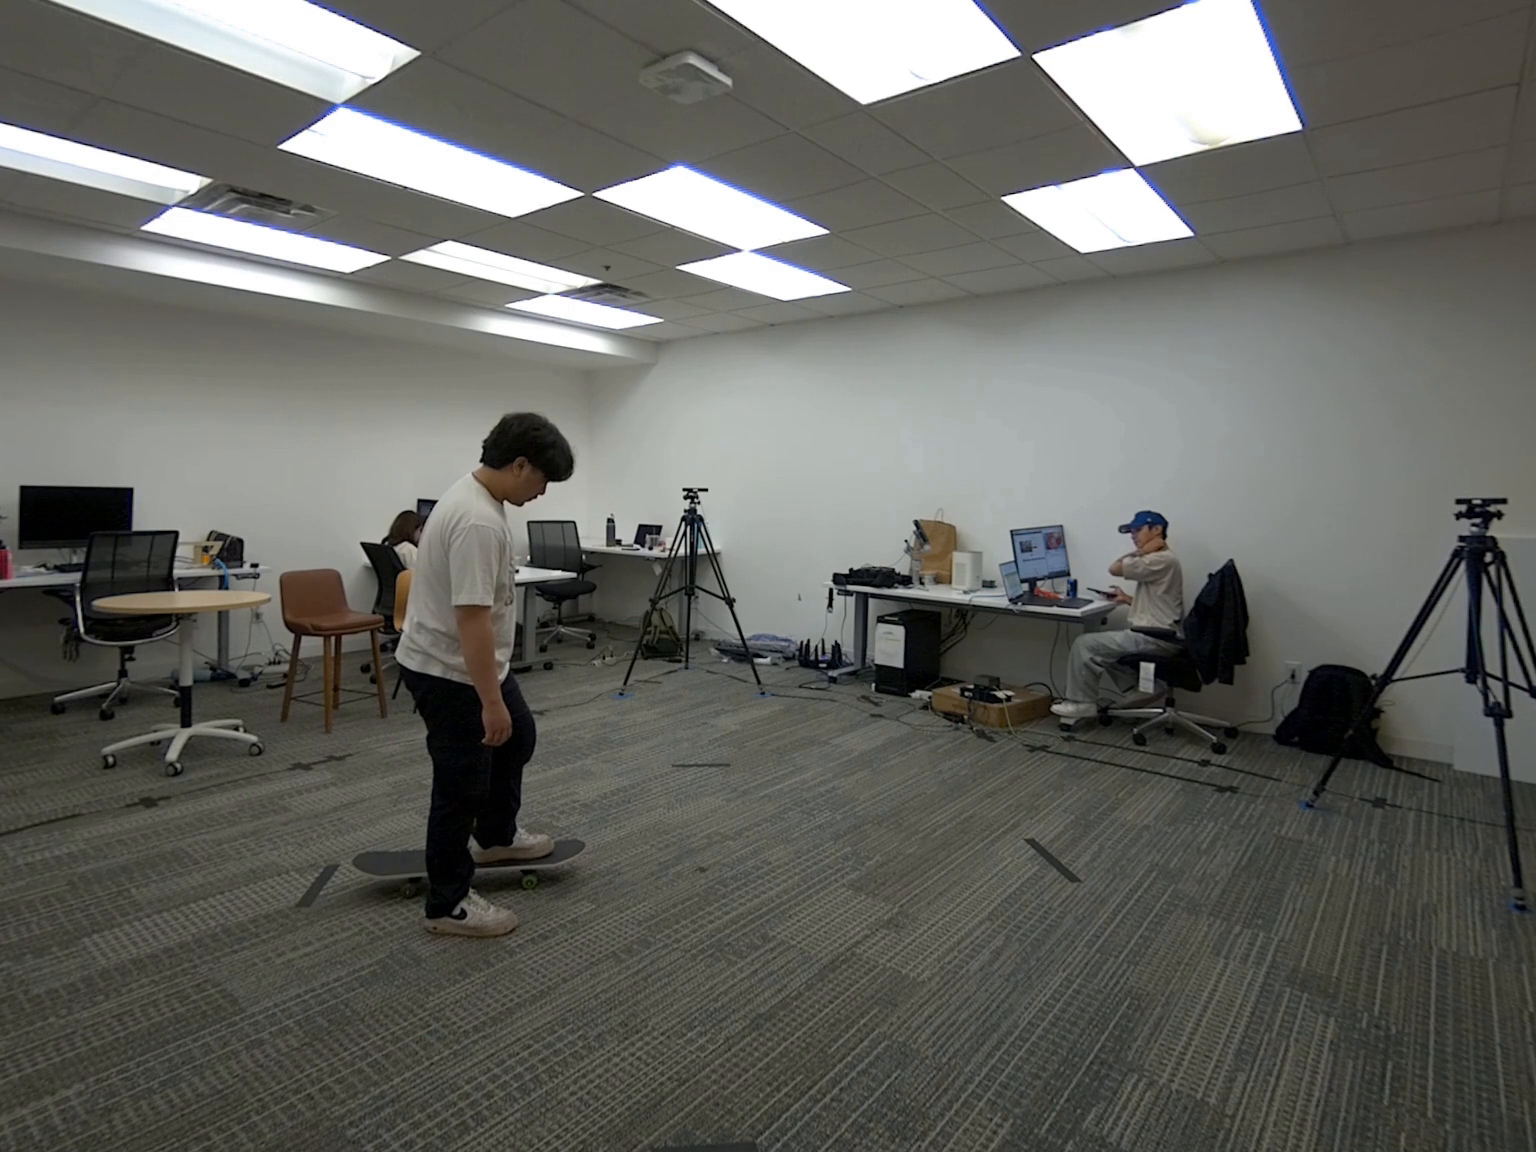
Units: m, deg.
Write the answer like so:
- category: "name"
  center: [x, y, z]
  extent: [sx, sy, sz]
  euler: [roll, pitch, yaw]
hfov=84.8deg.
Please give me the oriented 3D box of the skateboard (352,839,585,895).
- category: "skateboard"
  center: [-1.039, 1.010, 2.966]
  extent: [0.776, 0.110, 0.197]
  euler: [0, 6, -11]
